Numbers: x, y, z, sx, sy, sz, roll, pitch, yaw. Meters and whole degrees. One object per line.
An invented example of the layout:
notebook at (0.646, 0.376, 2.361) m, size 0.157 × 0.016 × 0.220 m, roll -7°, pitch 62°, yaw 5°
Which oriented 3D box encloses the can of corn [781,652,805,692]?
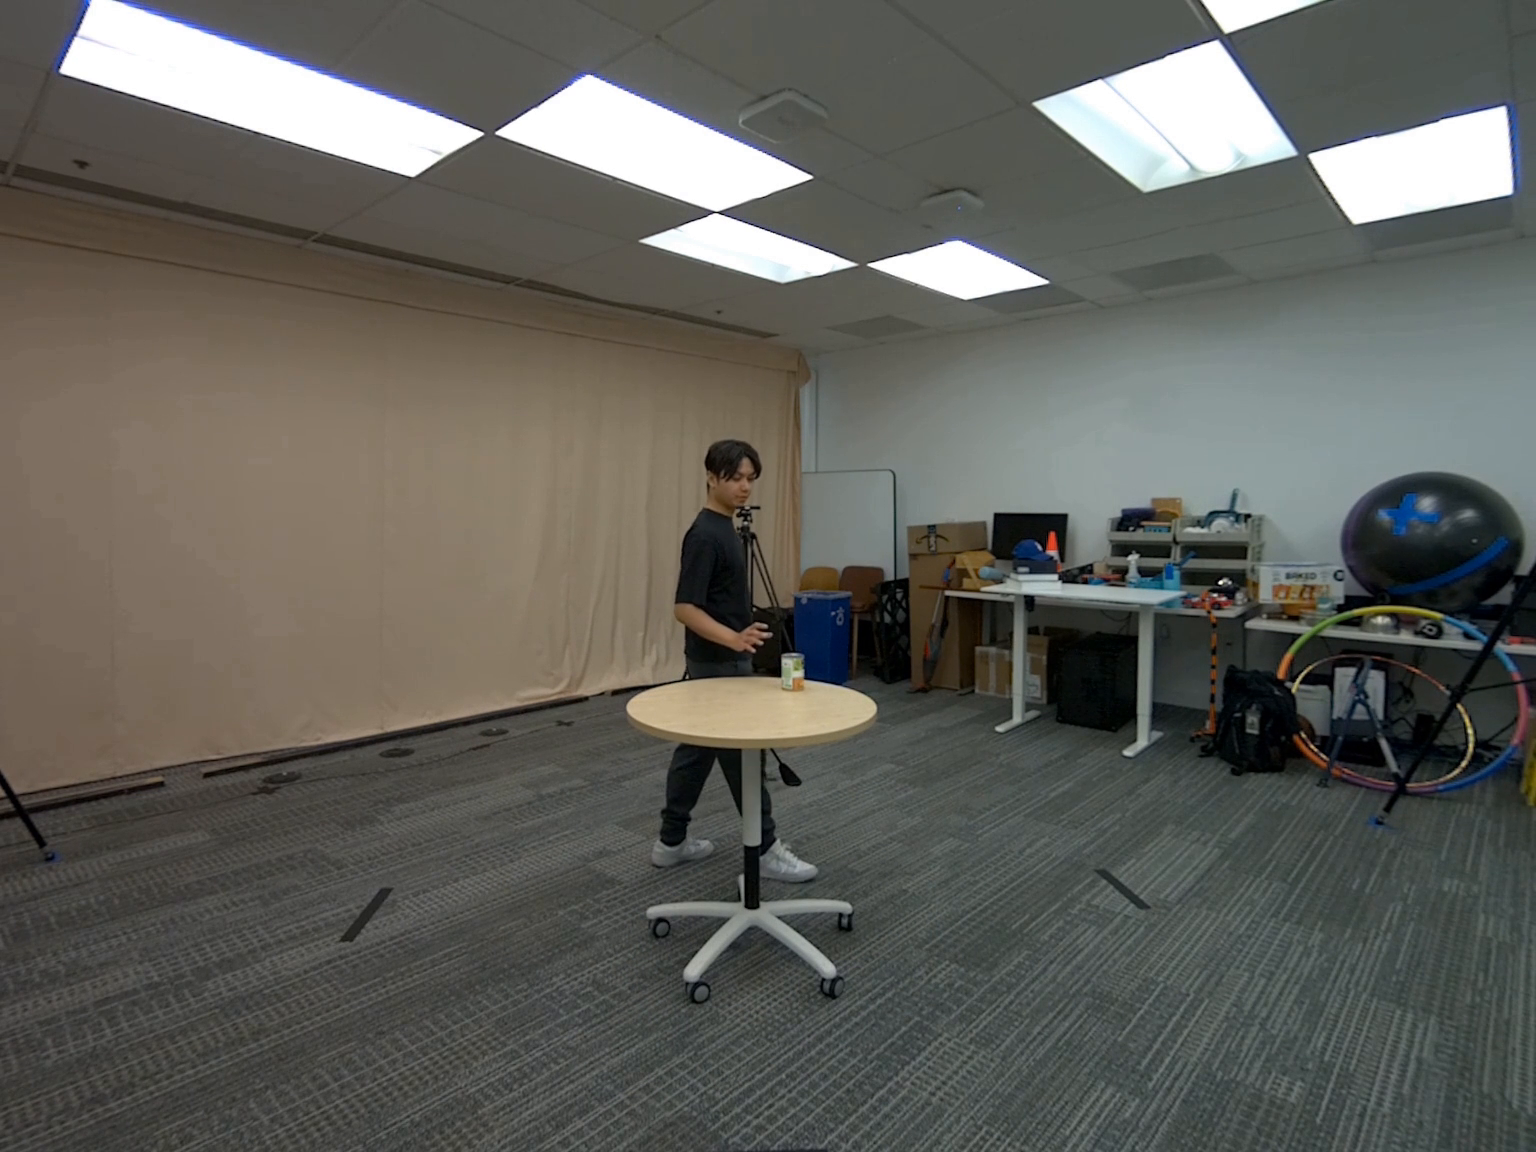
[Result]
can of corn at (0.087, 0.321, 2.781) m, size 0.074 × 0.111 × 0.074 m, roll 0°, pitch 5°, yaw -2°
